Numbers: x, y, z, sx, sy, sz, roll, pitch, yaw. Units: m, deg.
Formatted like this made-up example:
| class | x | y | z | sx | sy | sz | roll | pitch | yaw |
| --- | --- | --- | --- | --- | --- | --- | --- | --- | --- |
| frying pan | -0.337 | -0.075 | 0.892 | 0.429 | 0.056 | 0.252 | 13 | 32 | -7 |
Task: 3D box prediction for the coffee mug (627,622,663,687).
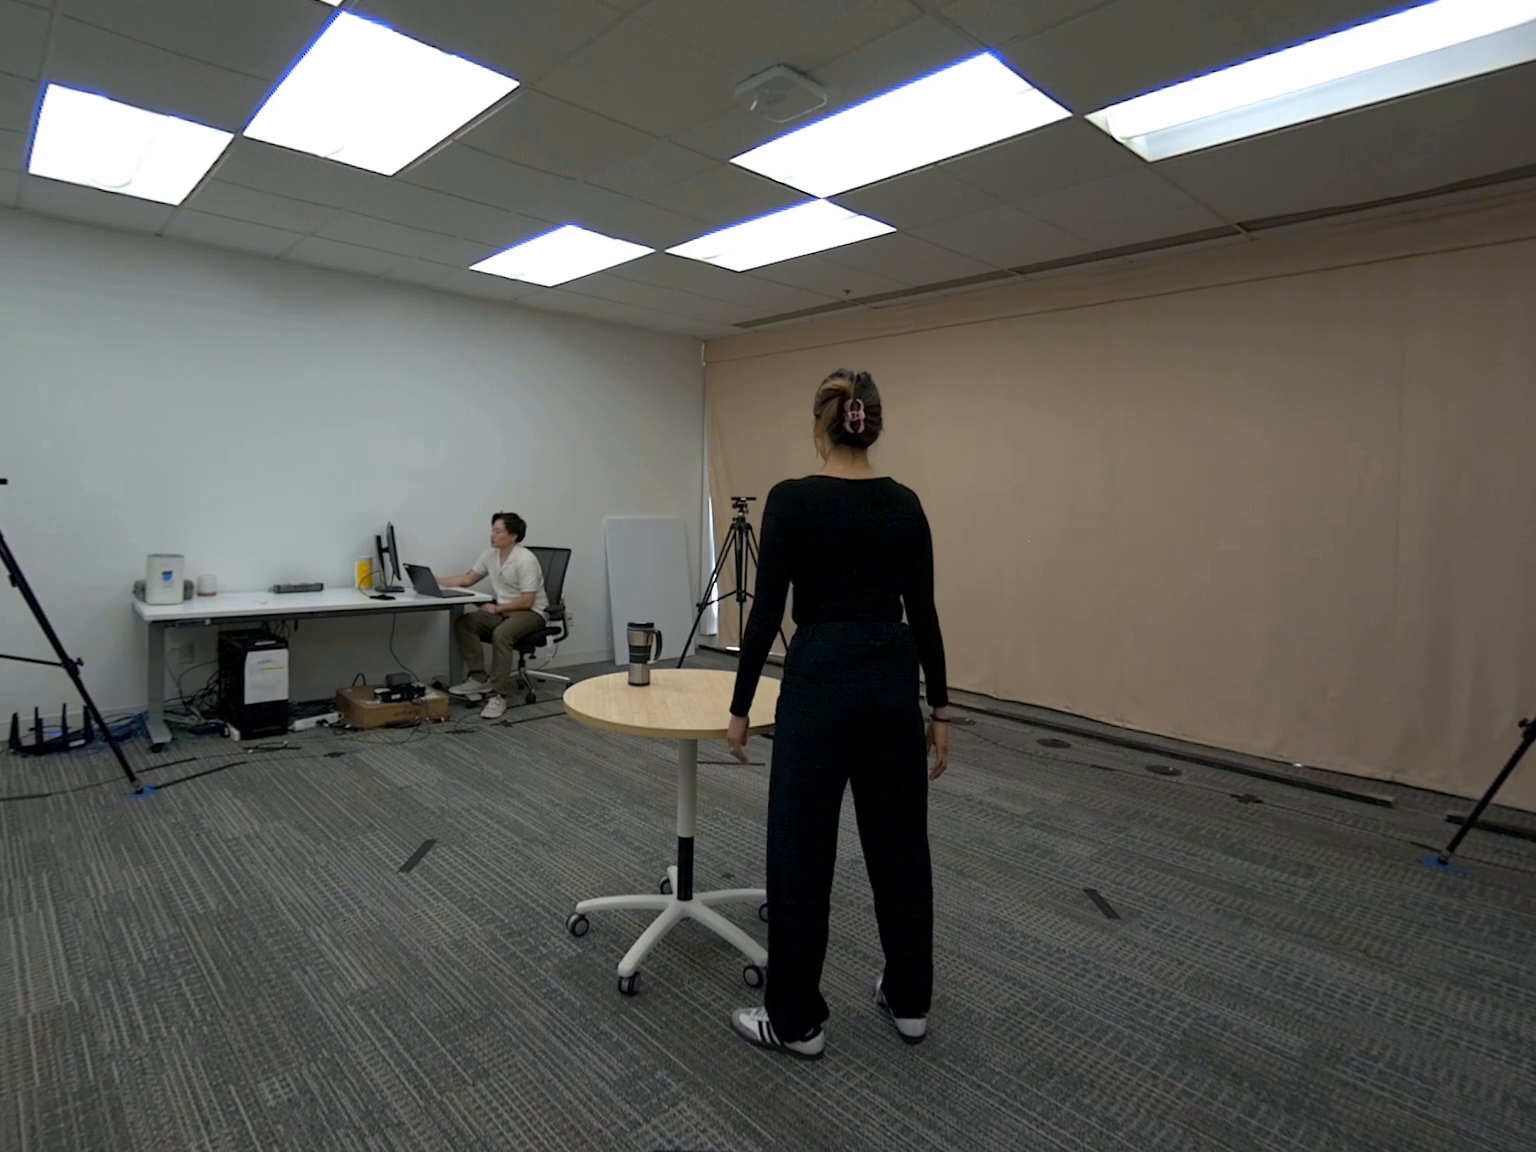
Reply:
| class | x | y | z | sx | sy | sz | roll | pitch | yaw |
| --- | --- | --- | --- | --- | --- | --- | --- | --- | --- |
| coffee mug | -0.404 | 0.251 | 2.692 | 0.086 | 0.203 | 0.124 | 3 | -1 | -30 |
